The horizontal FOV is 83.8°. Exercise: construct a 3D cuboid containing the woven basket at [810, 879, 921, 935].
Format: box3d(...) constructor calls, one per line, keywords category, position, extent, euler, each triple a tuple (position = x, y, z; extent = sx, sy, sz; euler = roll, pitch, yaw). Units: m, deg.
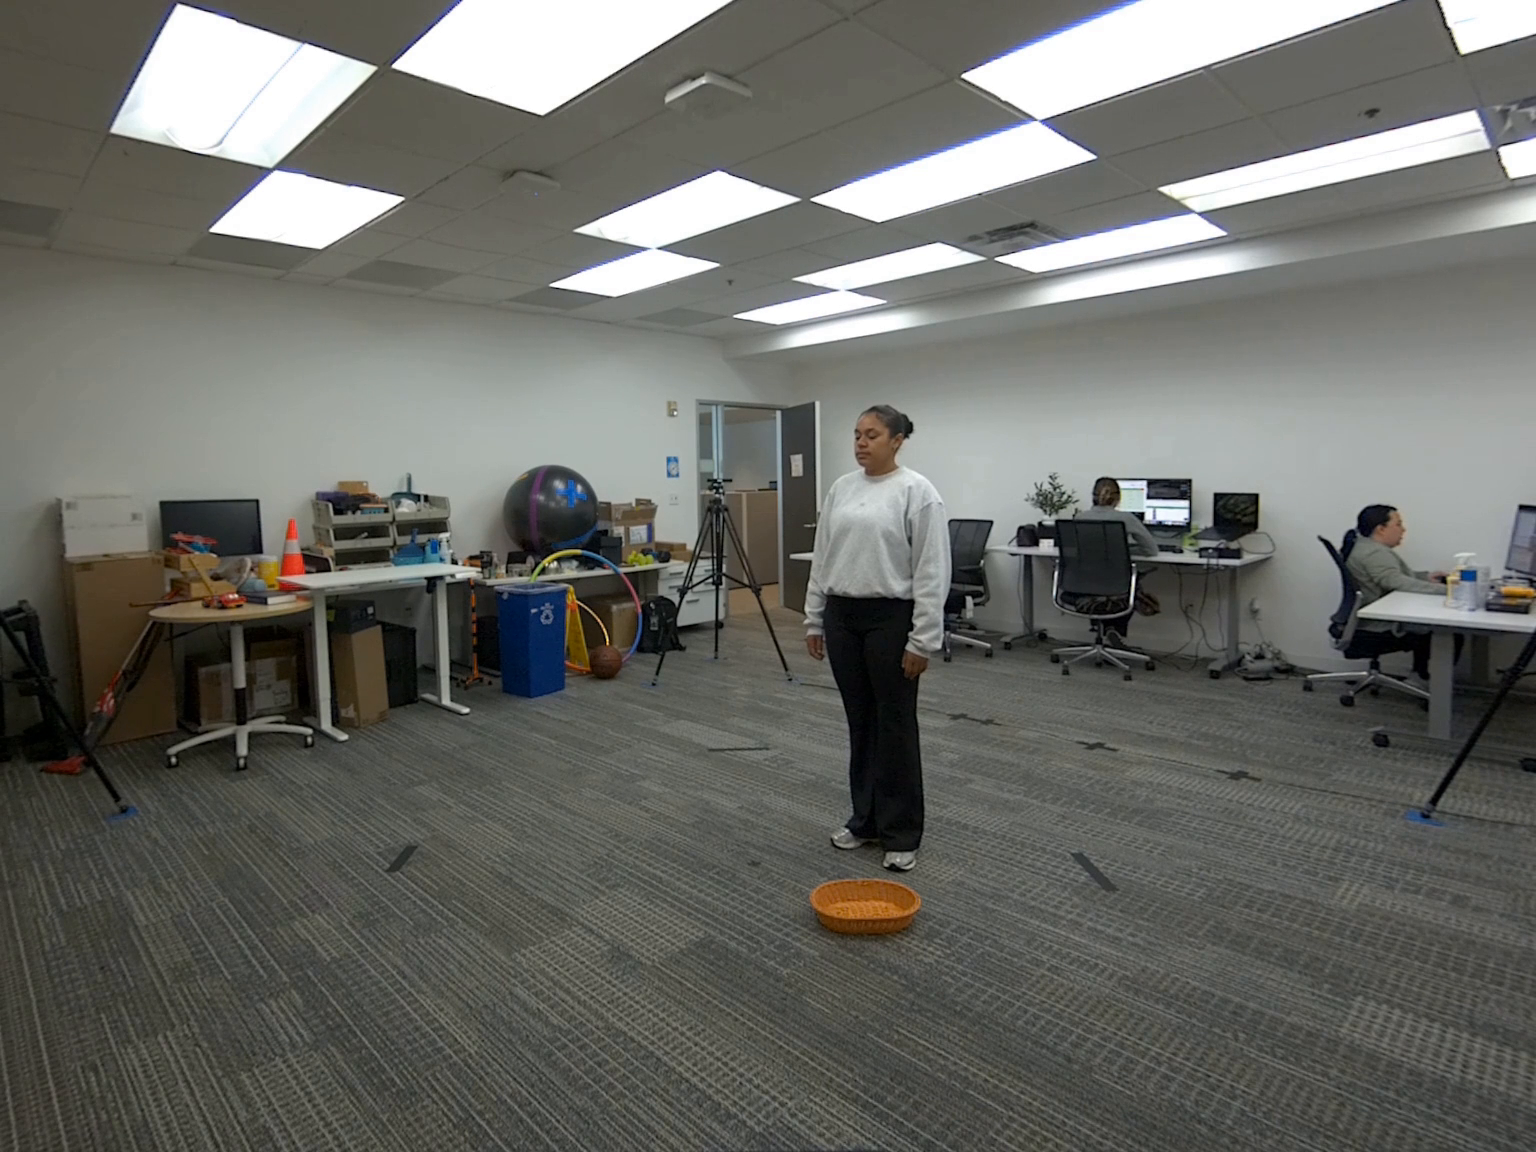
box3d(category="woven basket", position=(0.302, 1.046, 2.701), extent=(0.351, 0.073, 0.253), euler=(-1, 6, 2))
